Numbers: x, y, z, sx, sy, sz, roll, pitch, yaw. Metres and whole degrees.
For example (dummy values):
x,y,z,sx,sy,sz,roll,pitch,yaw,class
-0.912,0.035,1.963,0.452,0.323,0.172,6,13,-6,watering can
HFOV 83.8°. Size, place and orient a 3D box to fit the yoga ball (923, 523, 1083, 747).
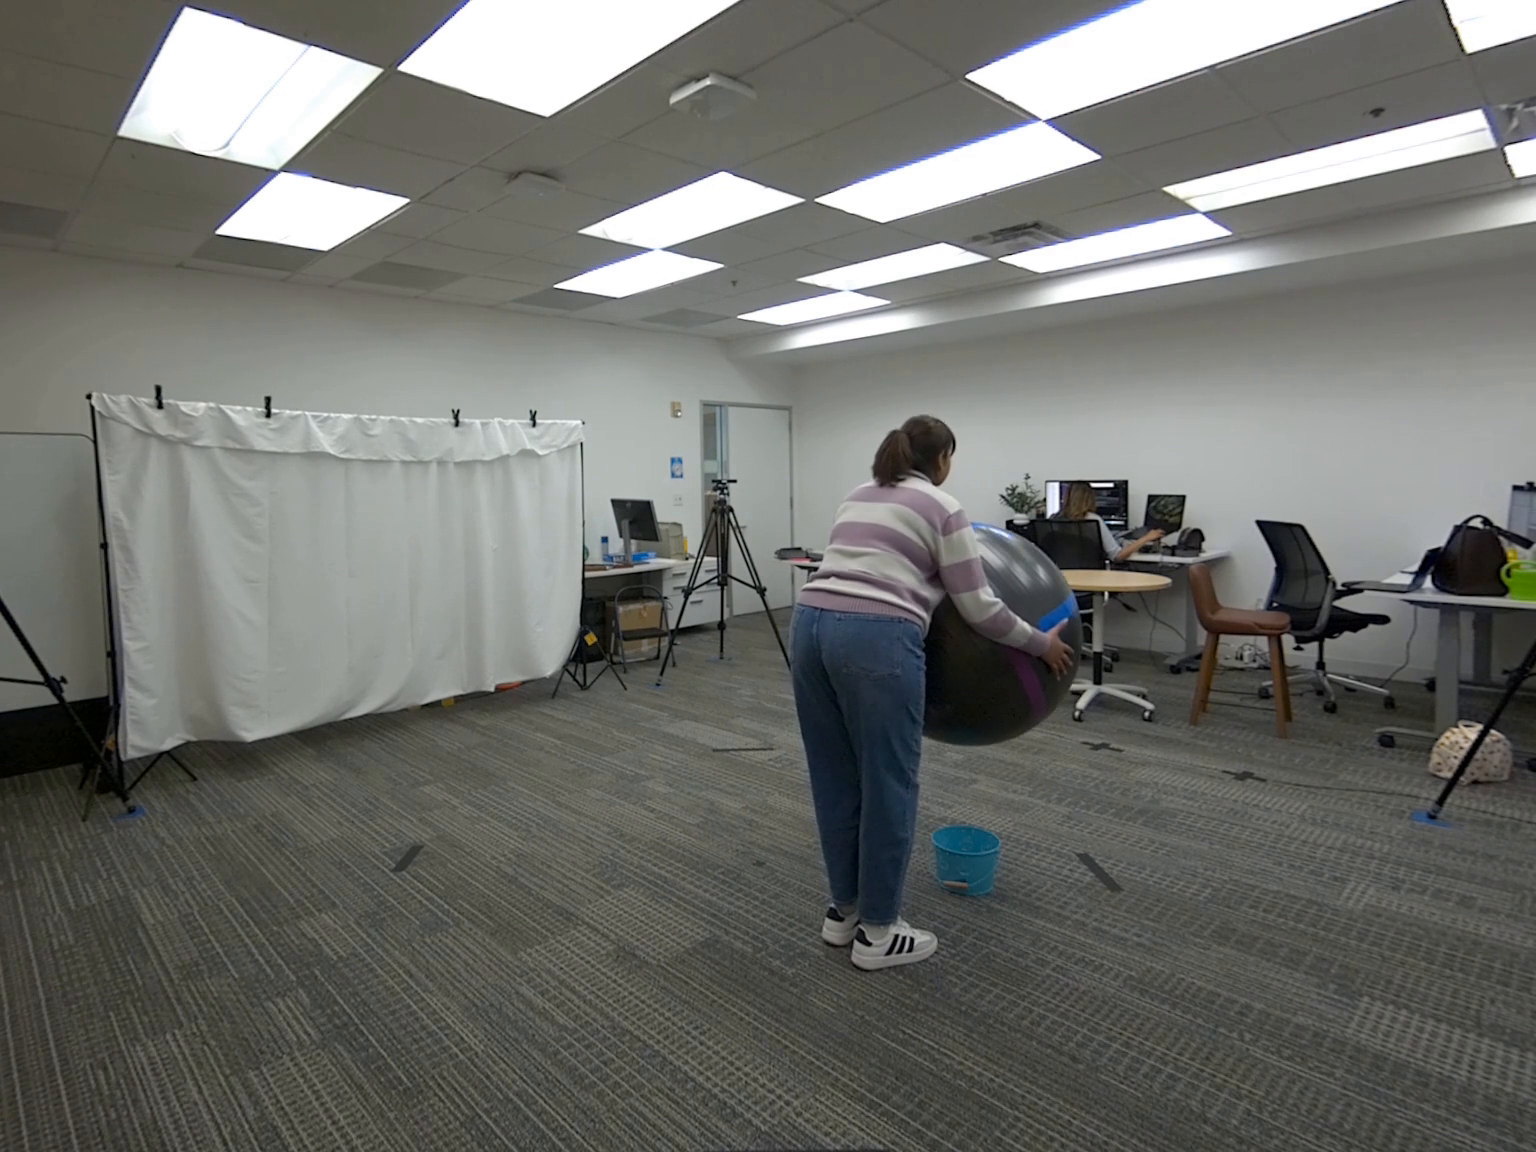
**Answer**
x,y,z,sx,sy,sz,roll,pitch,yaw,class
0.686,0.211,2.940,0.757,0.755,0.762,-1,5,-2,yoga ball
